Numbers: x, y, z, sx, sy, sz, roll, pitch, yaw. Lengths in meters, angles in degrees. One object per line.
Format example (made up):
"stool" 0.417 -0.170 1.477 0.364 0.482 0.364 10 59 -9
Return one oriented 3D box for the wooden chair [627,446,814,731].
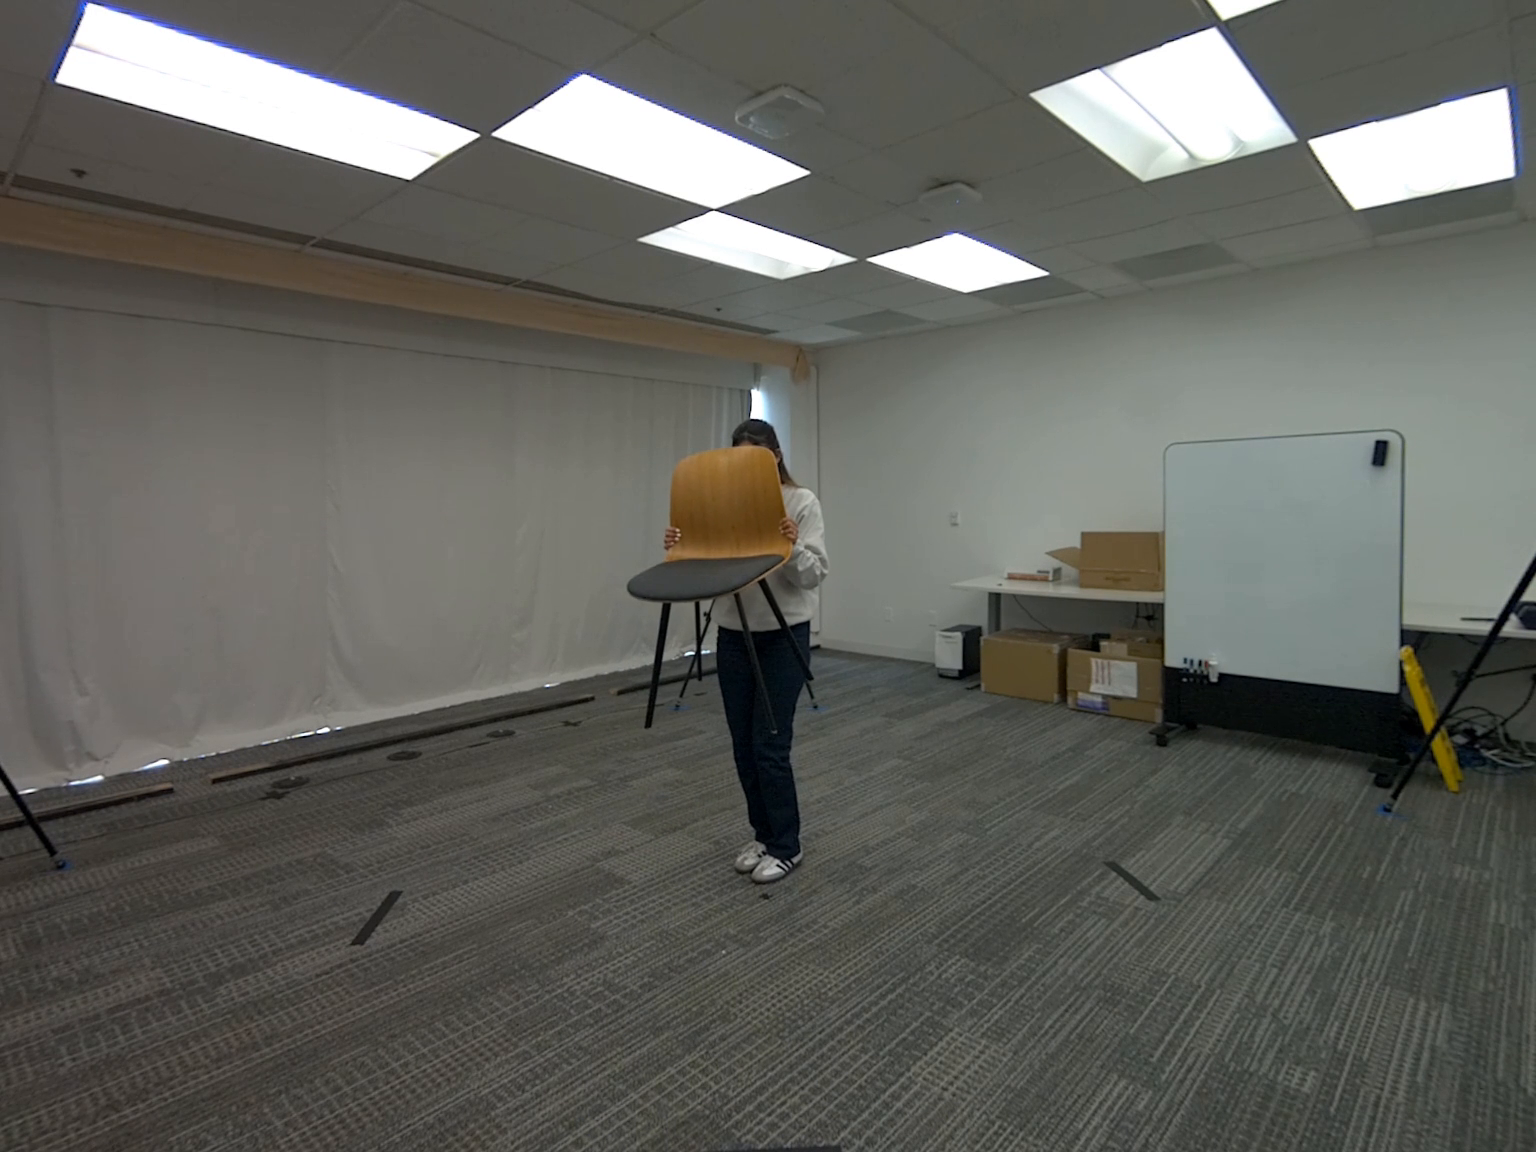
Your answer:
"wooden chair" -0.167 0.026 2.773 0.489 0.873 0.514 -2 7 22
